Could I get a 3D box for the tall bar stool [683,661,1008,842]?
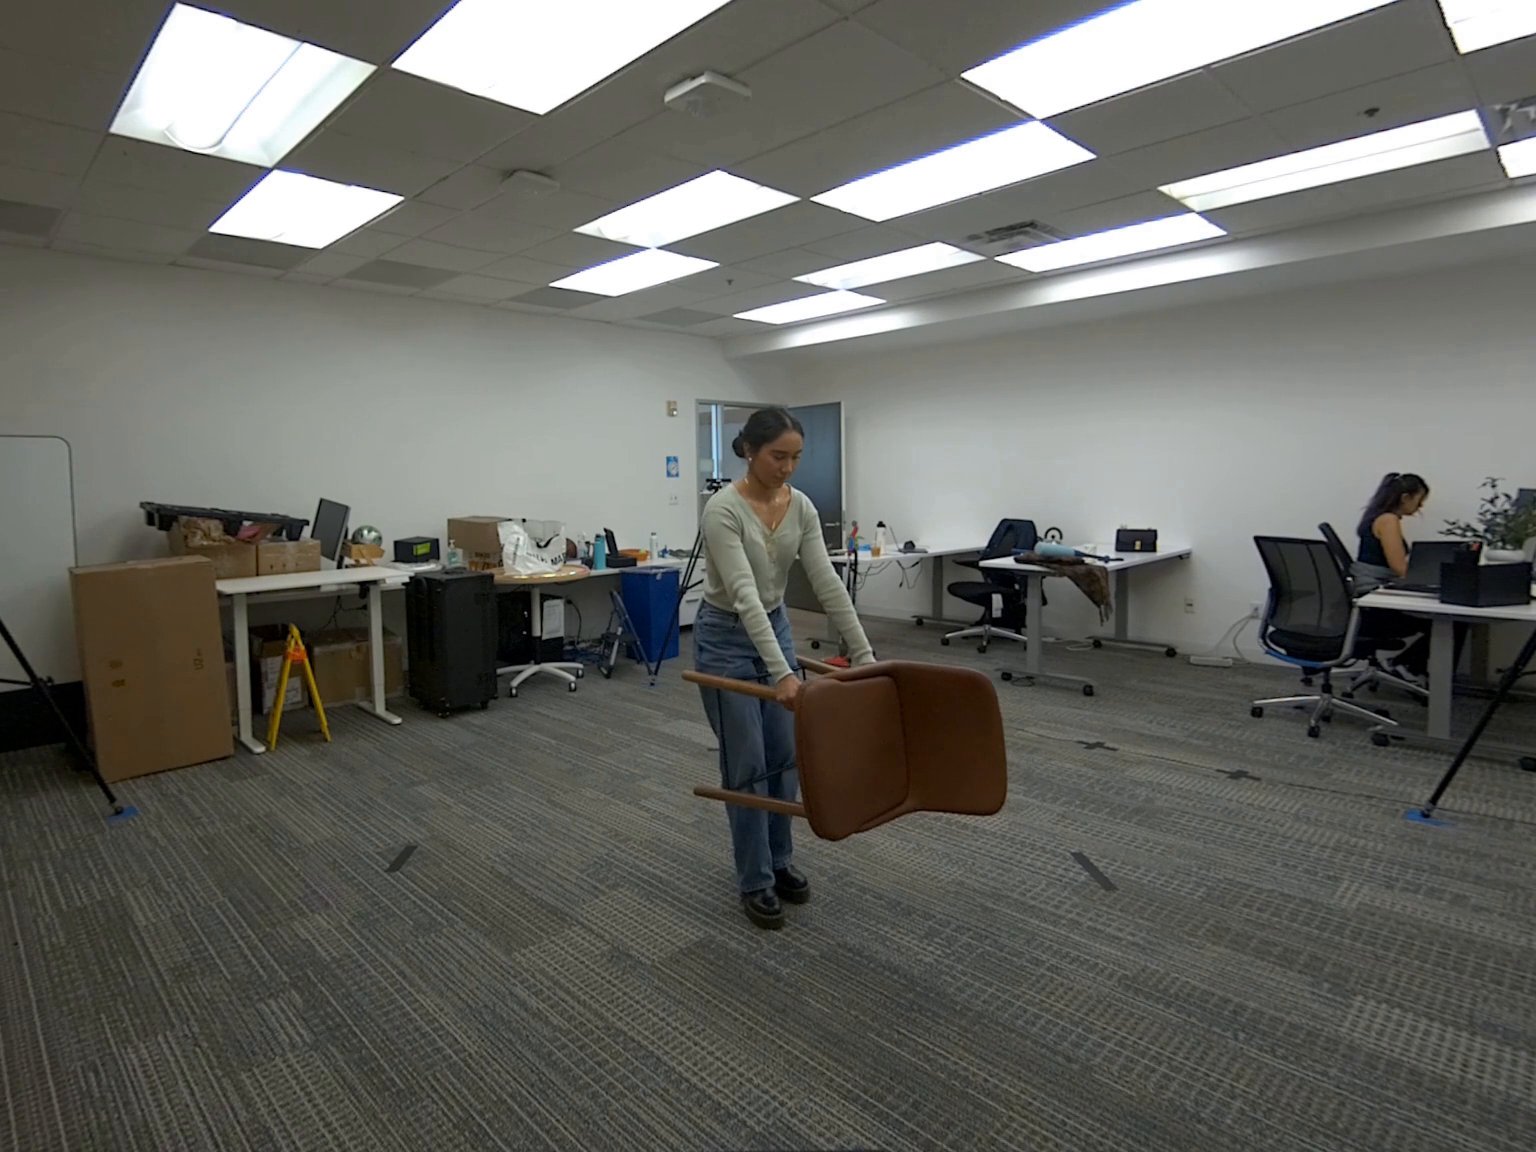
[{"bbox_3d":[0.190,0.488,2.552,0.456,0.456,0.914,-7,3,-38],"label":"tall bar stool"}]
